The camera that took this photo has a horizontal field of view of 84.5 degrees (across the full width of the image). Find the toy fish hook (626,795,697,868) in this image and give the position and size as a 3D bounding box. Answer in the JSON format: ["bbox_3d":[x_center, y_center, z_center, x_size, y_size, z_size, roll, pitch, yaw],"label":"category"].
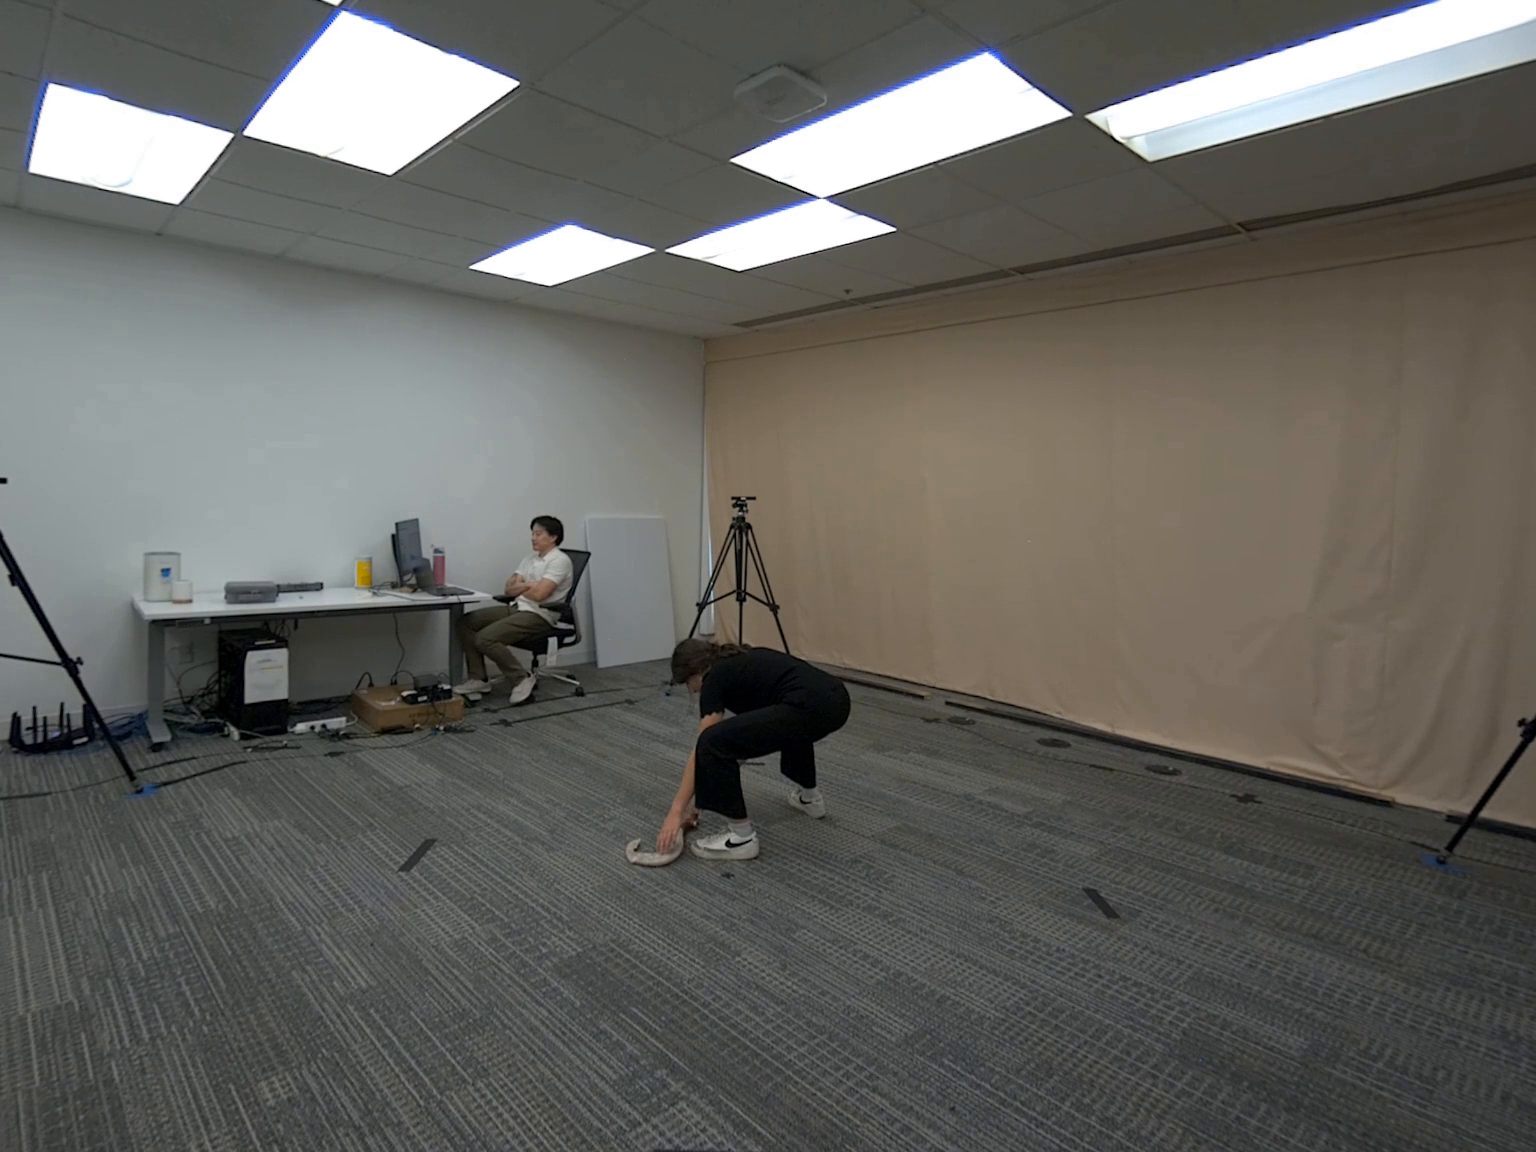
[{"bbox_3d":[-0.422,1.048,3.417,0.227,0.048,0.503,5,6,12],"label":"toy fish hook"}]
